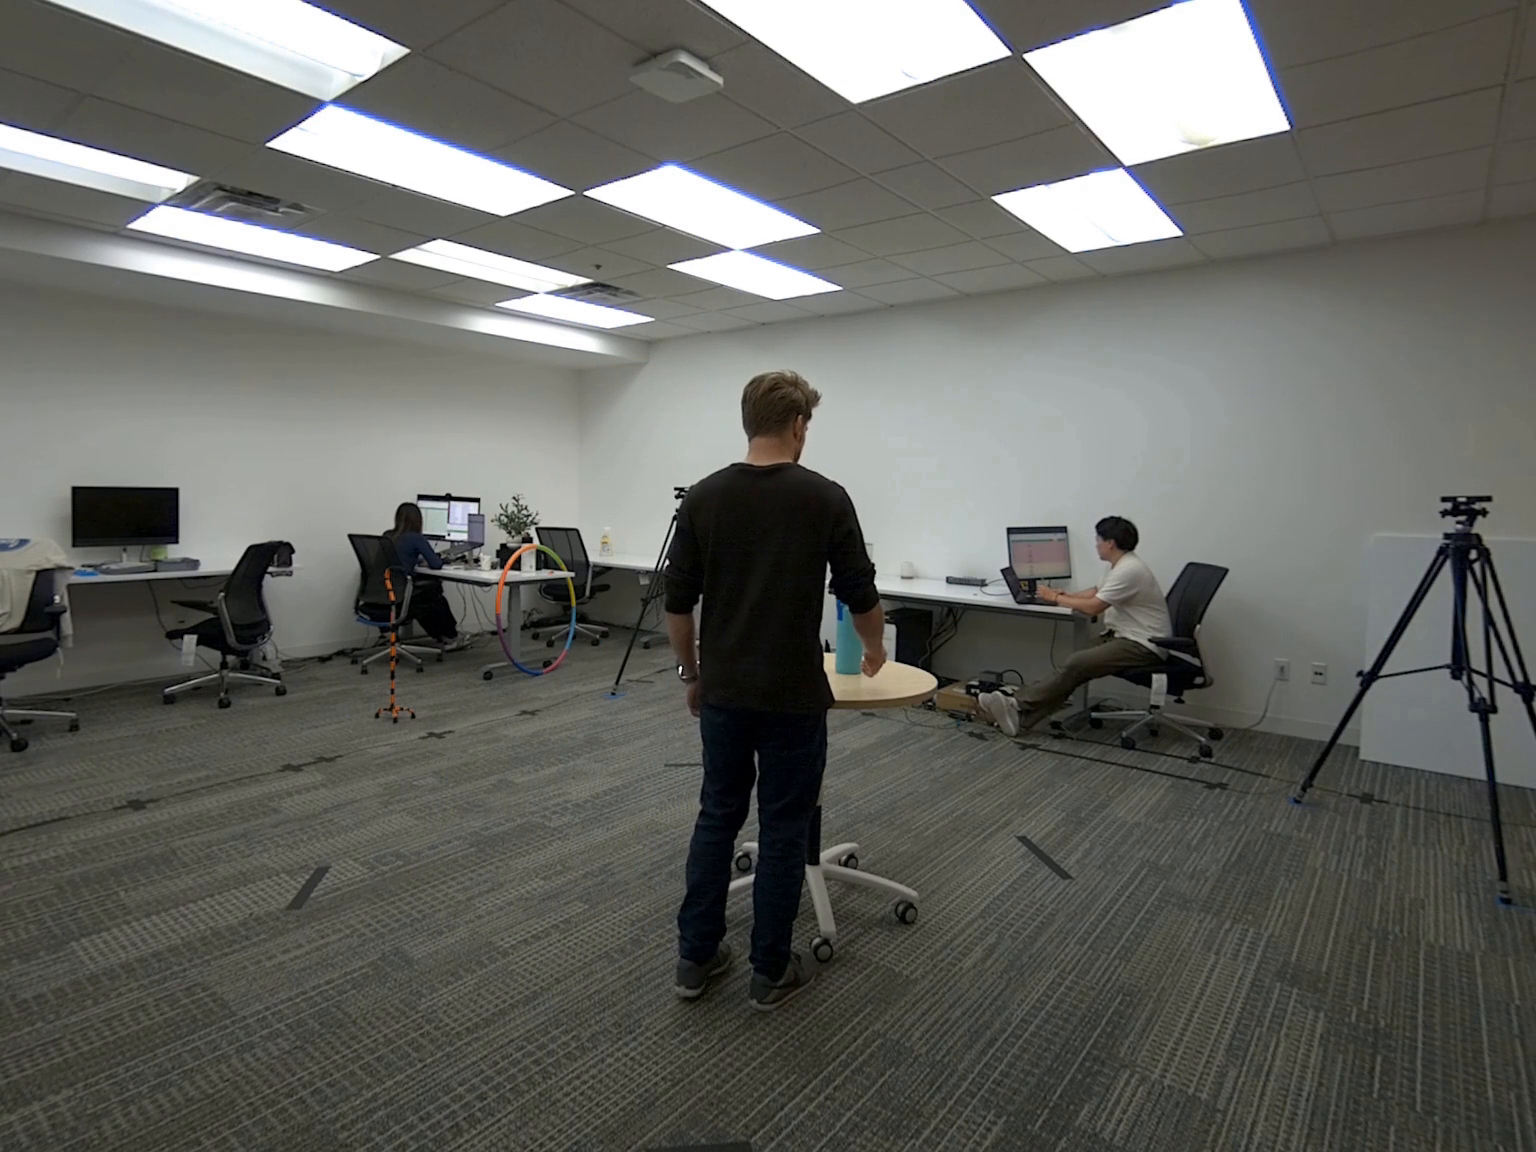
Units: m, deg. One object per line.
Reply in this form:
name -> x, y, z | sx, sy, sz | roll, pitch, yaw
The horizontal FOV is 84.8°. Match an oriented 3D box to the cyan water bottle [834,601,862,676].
cyan water bottle -> 0.271, 0.181, 2.847 | 0.092, 0.283, 0.092 | 0, 2, -2
